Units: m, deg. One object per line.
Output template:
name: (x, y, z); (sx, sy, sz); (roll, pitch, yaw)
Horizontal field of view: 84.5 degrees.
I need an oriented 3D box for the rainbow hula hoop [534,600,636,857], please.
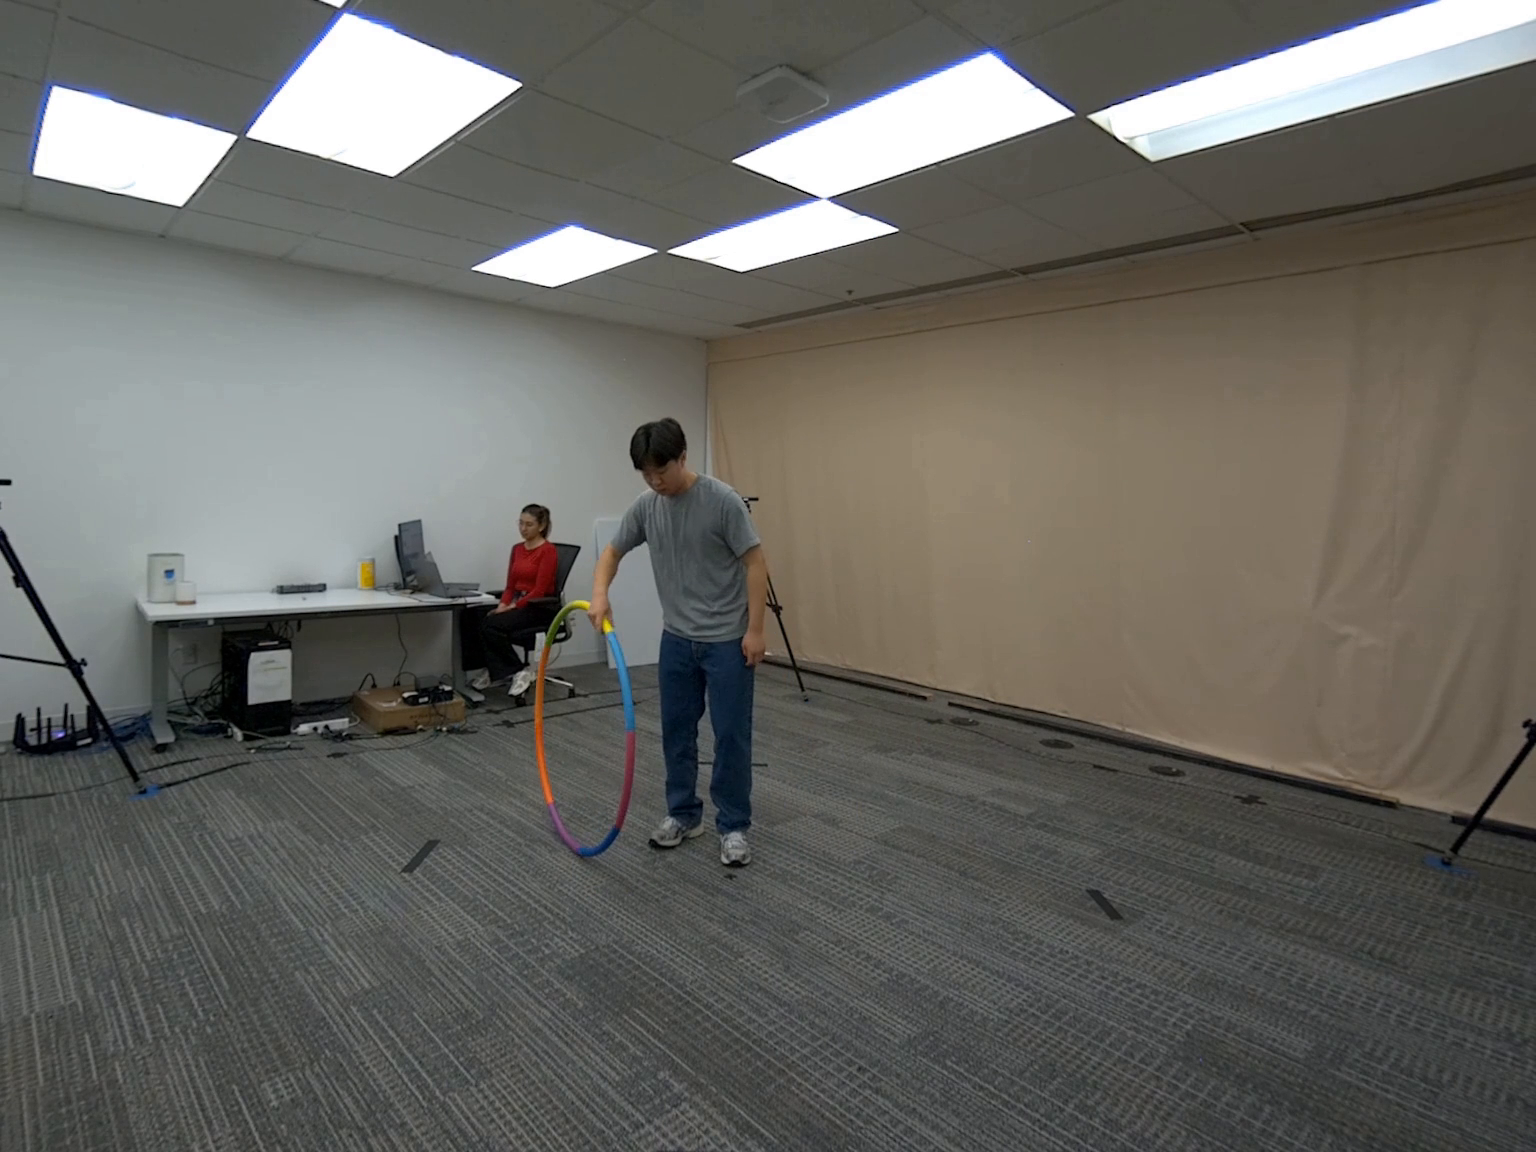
rainbow hula hoop: (-0.746, 0.592, 3.296); (0.035, 0.977, 1.002); (3, 3, -33)
